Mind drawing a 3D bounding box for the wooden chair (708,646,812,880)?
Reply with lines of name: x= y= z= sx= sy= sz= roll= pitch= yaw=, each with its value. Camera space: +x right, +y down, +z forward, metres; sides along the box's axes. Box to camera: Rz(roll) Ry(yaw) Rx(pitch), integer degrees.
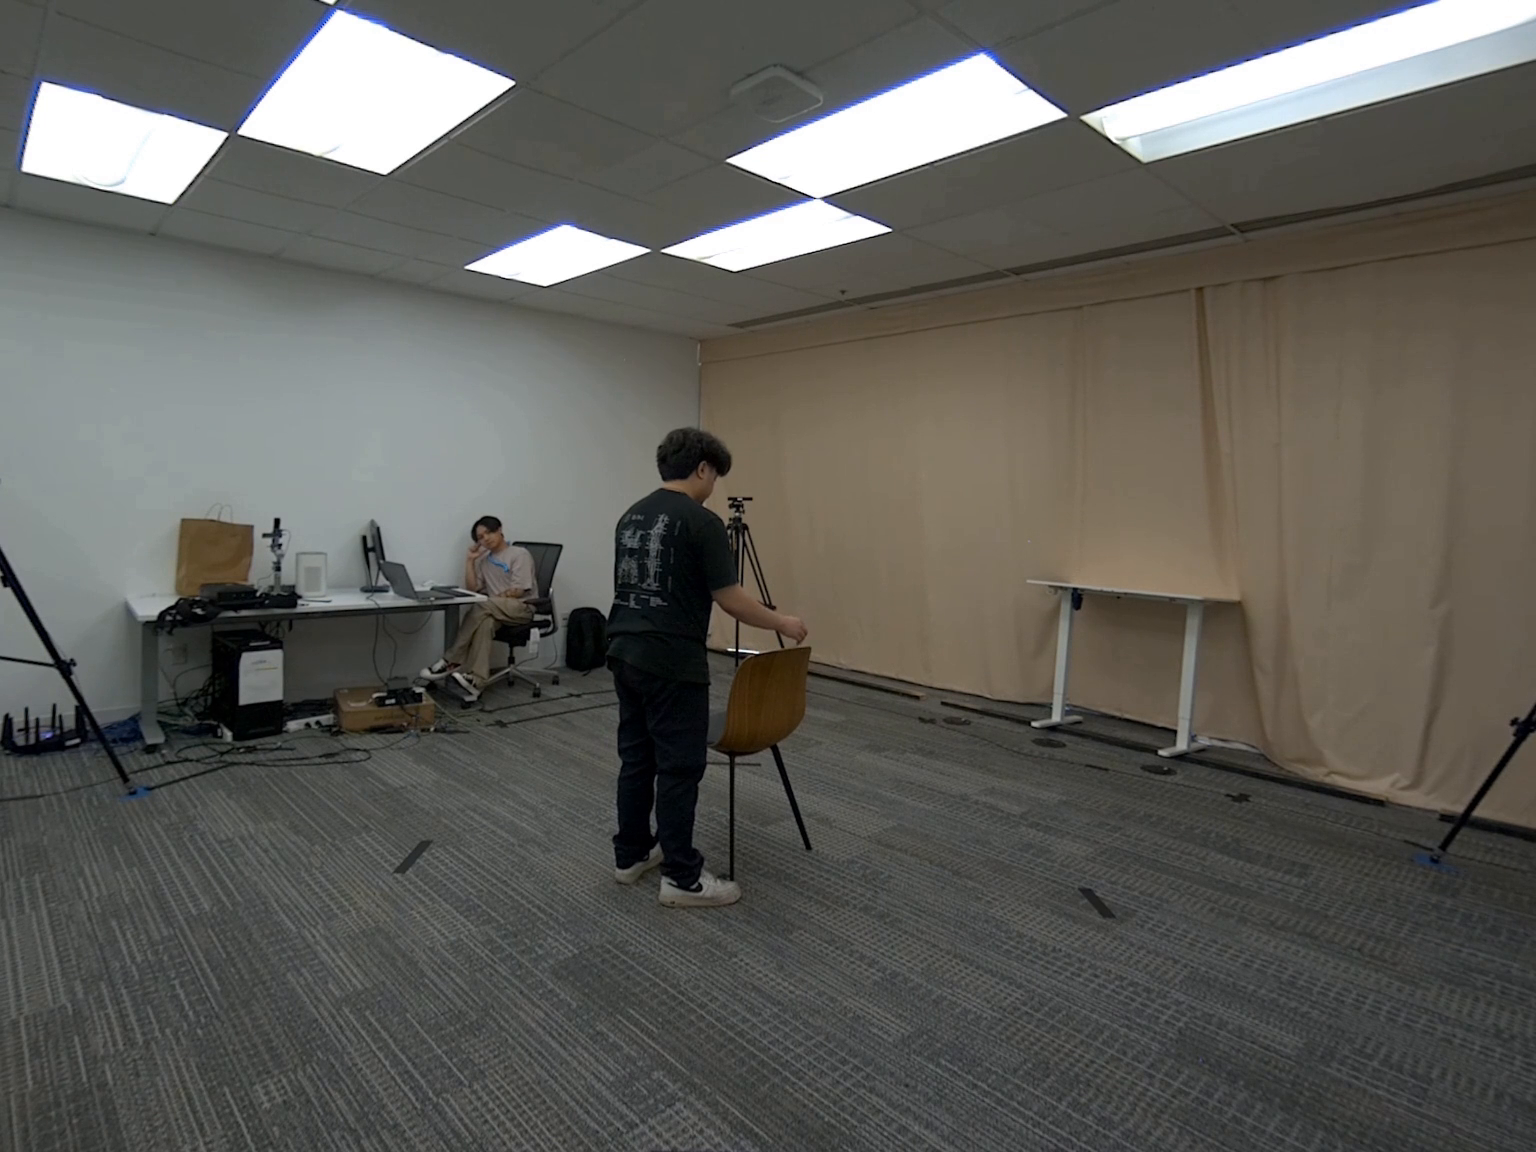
wooden chair: x=-0.143 y=0.660 z=3.335 sx=0.537 sy=0.873 sz=0.467 roll=11 pitch=9 yaw=44
